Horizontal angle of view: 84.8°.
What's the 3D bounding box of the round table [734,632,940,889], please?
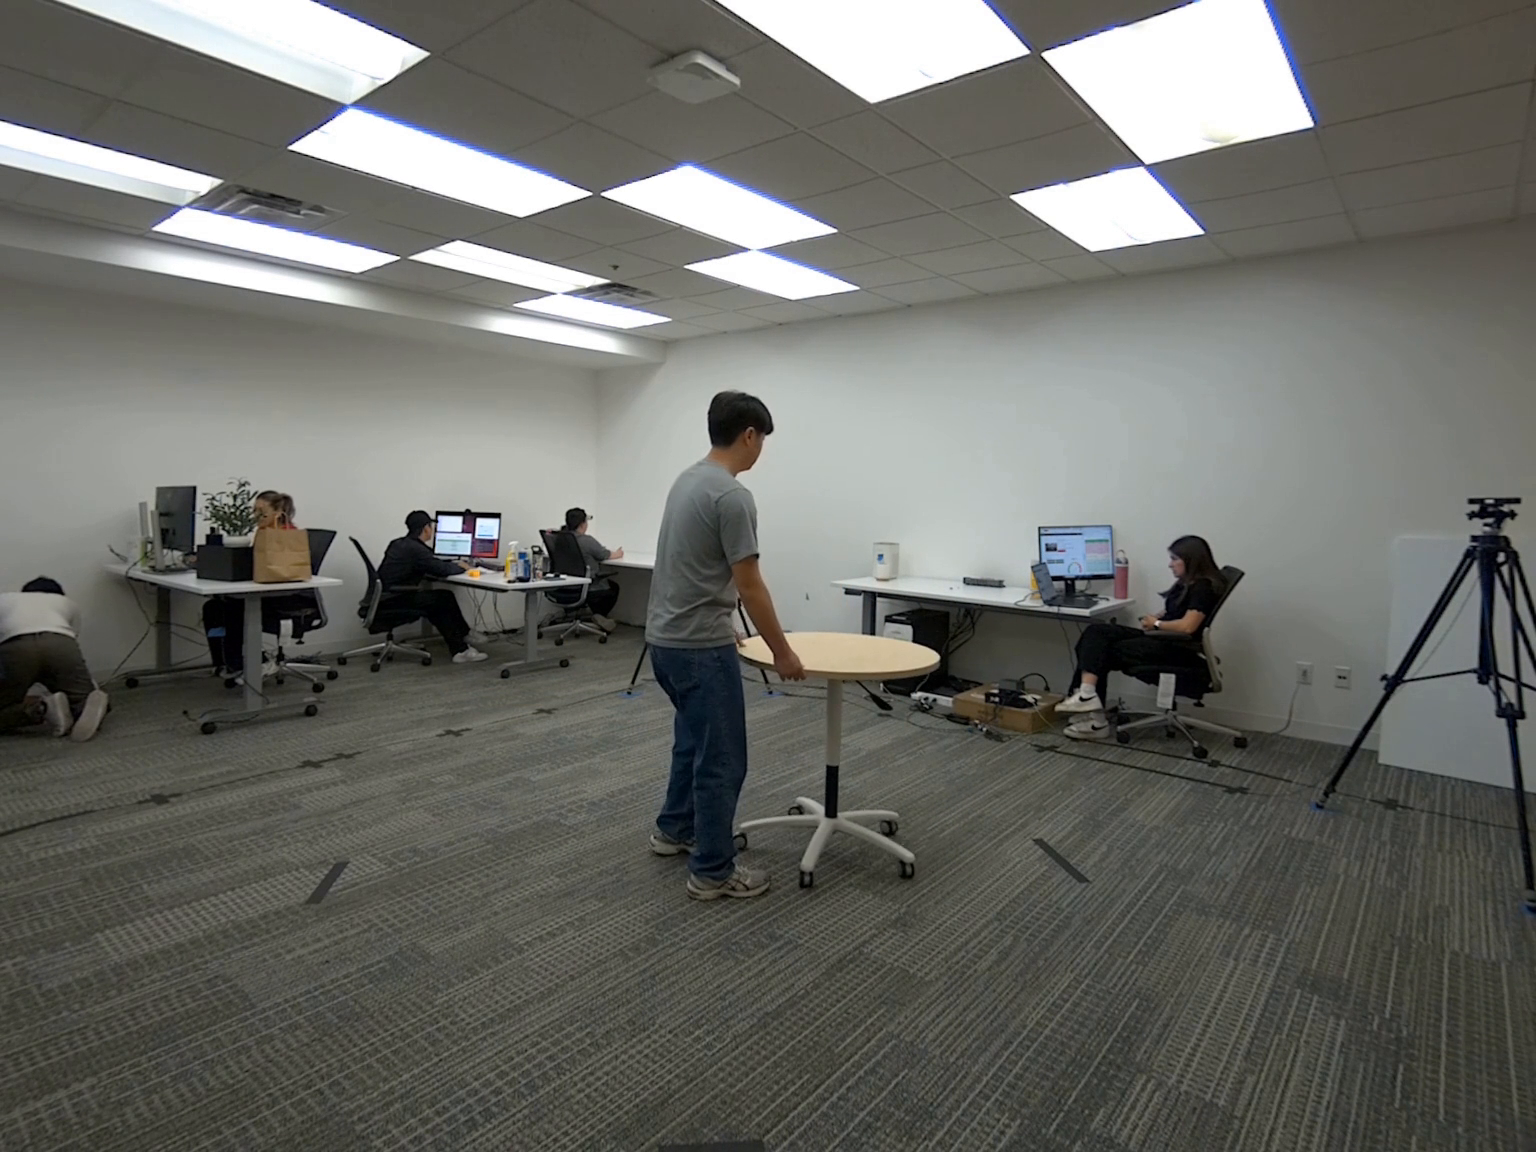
[{"bbox_3d":[0.237,0.674,3.249,0.763,0.791,0.768,1,4,-2],"label":"round table"}]
